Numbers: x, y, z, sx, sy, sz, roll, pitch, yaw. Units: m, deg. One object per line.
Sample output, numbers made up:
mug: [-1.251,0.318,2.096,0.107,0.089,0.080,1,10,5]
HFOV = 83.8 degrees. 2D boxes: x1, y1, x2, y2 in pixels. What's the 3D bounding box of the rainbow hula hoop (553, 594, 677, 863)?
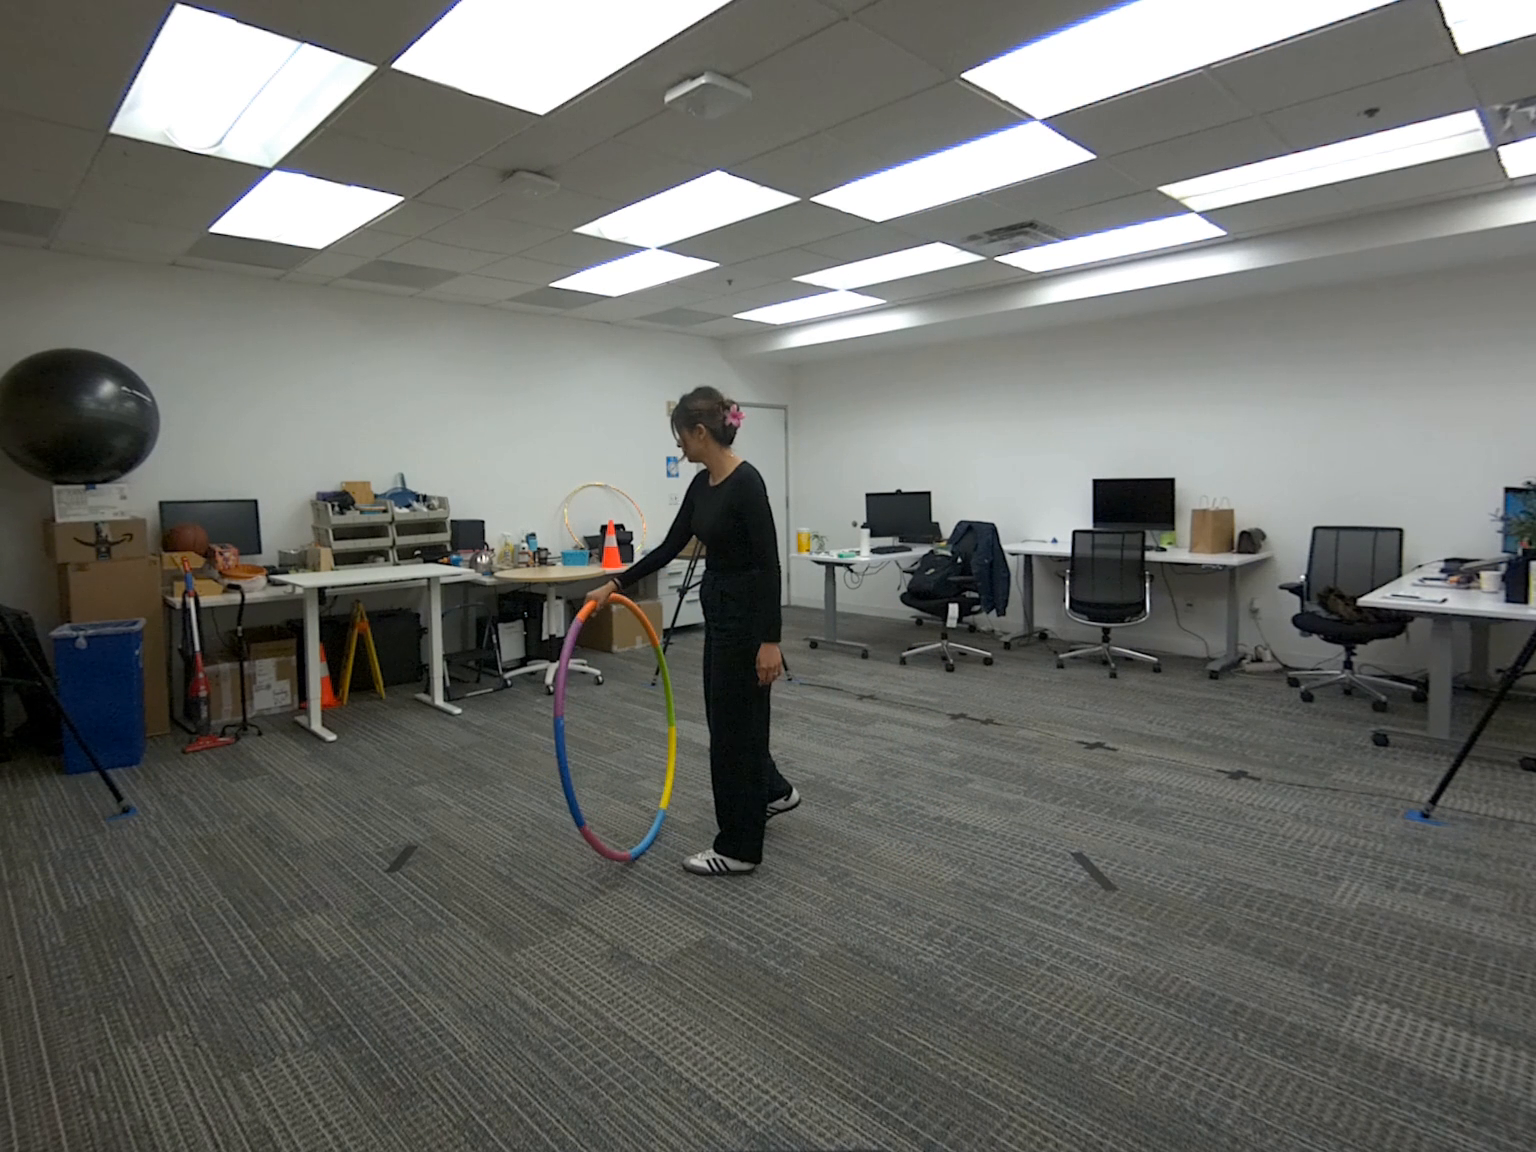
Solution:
rainbow hula hoop: [-0.541,0.549,3.245,0.036,0.978,0.967,-10,2,16]
